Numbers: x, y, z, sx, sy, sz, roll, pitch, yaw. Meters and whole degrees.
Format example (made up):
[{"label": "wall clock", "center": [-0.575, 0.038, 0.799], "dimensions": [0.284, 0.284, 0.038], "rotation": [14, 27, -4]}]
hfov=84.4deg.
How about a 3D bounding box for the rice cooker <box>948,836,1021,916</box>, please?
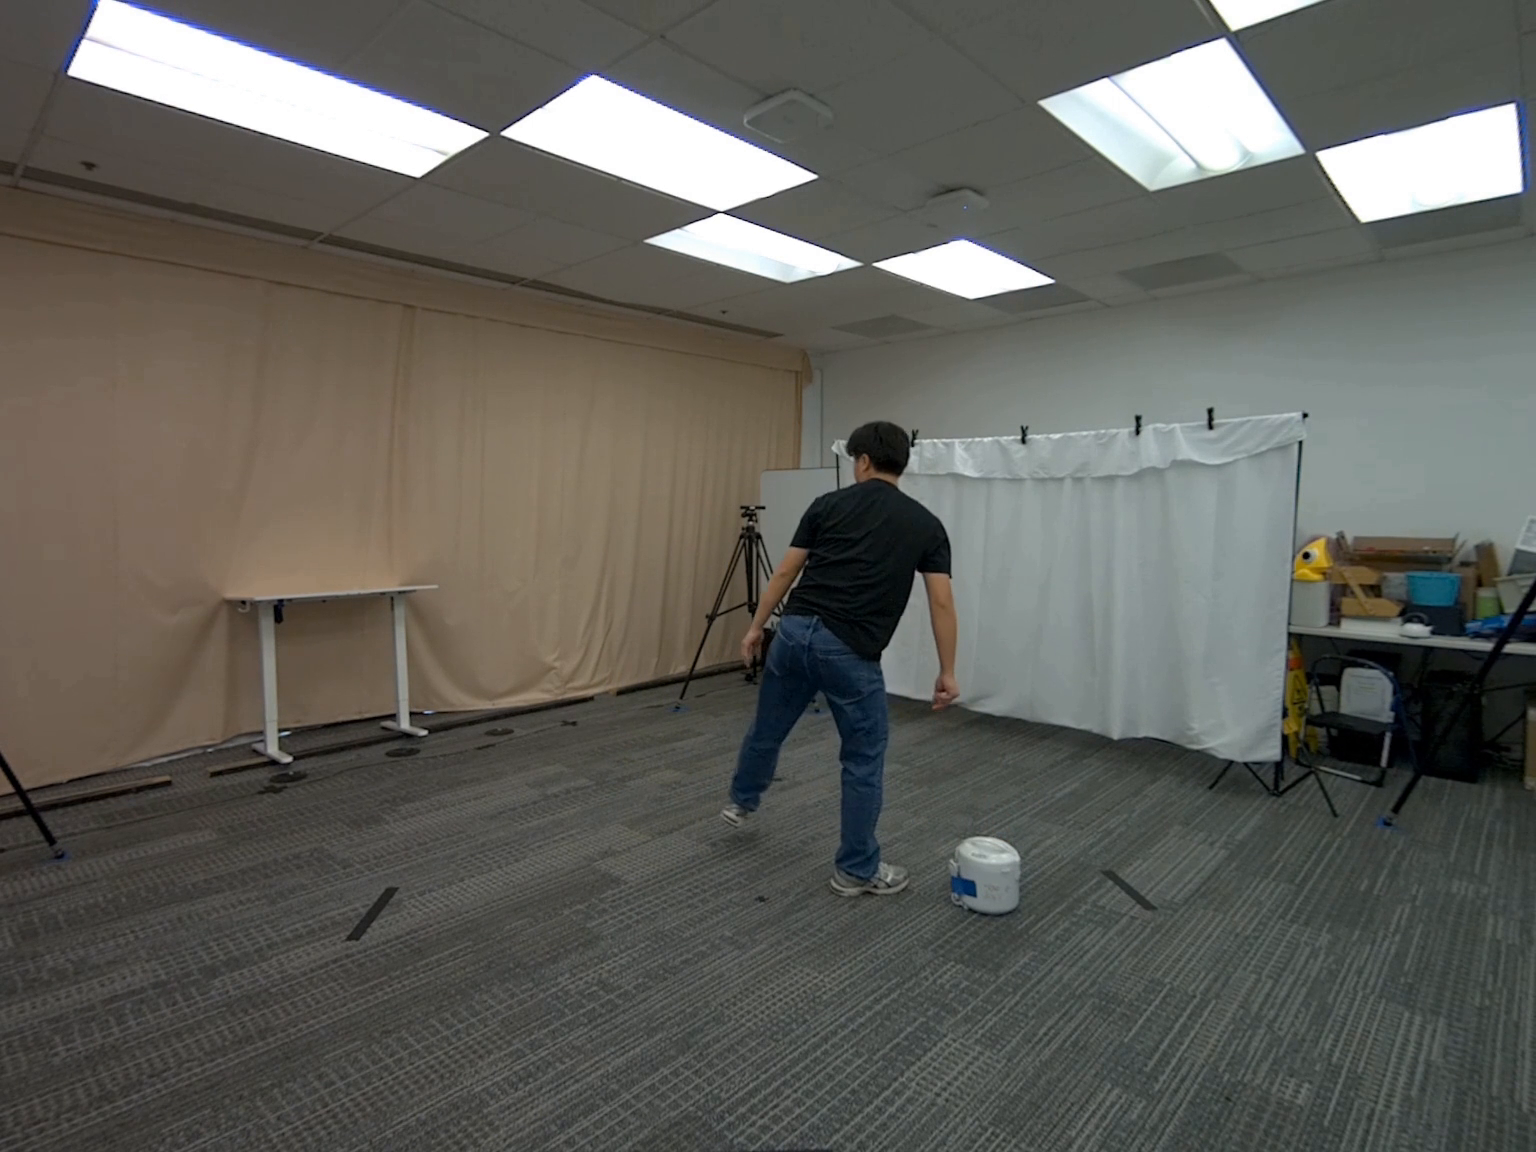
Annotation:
[{"label": "rice cooker", "center": [0.775, 1.033, 2.932], "dimensions": [0.227, 0.232, 0.211], "rotation": [3, 5, 34]}]
